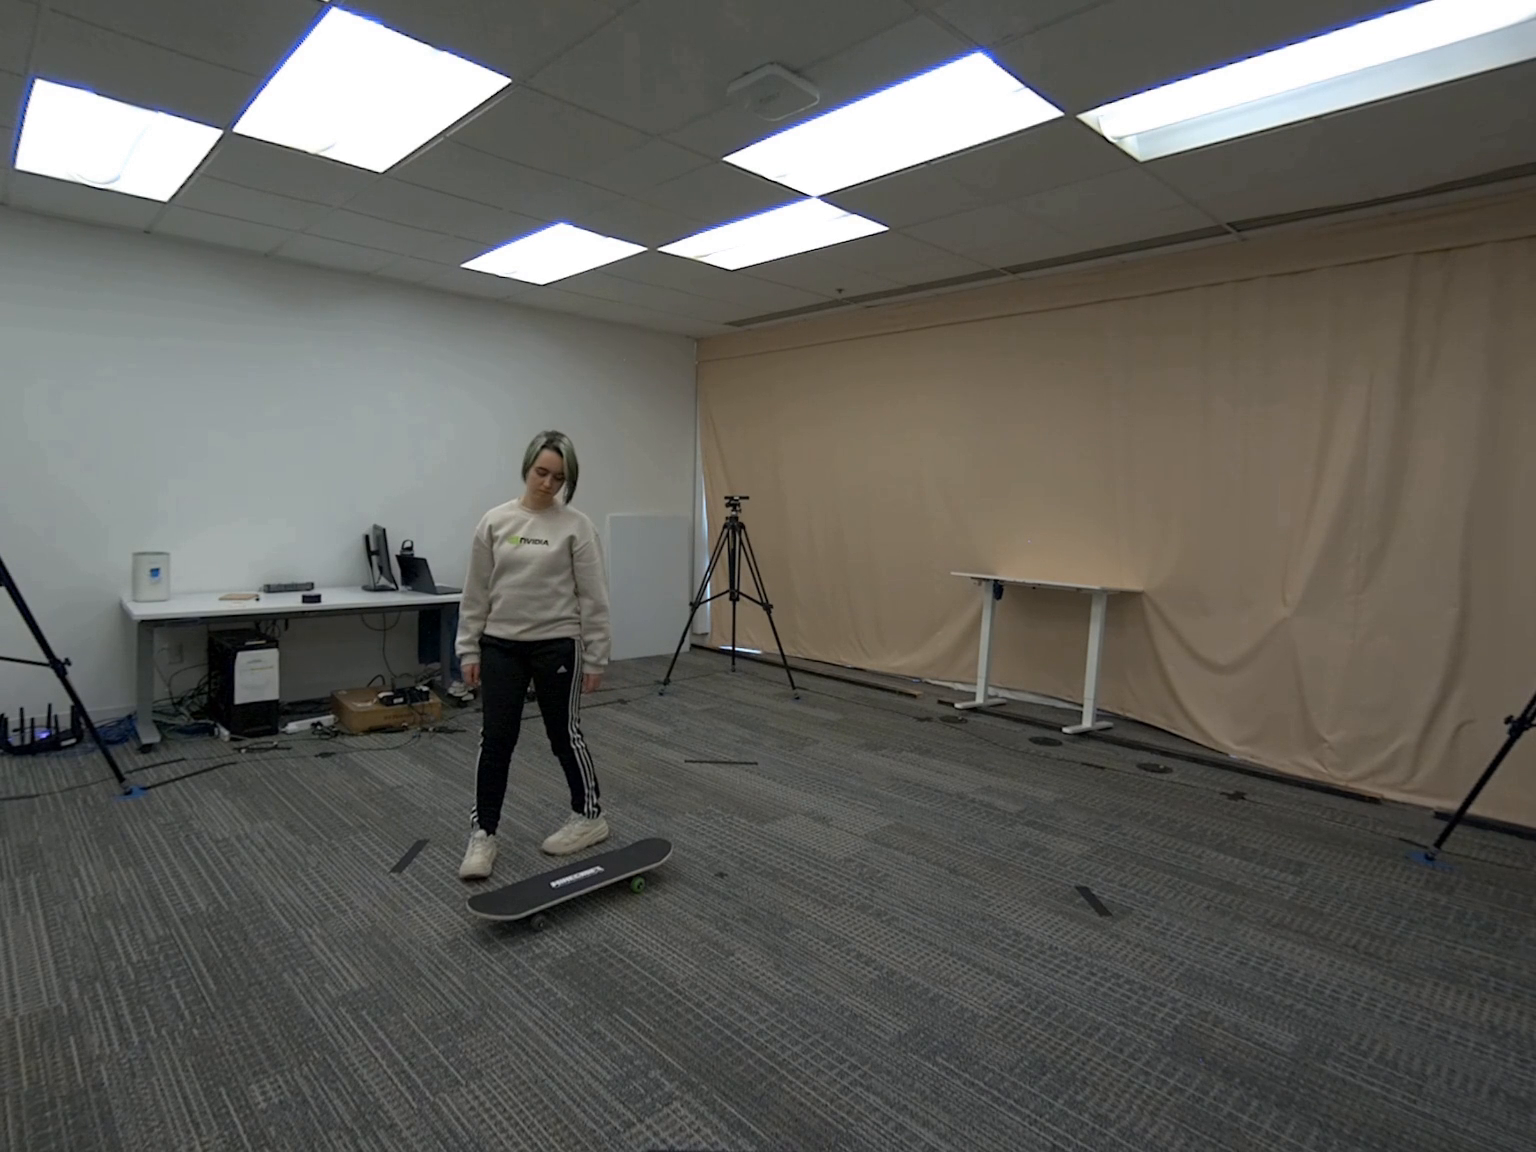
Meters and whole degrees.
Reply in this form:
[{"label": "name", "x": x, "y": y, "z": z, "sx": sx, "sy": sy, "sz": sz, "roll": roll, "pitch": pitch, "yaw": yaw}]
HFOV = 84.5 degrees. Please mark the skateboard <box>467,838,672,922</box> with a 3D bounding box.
[{"label": "skateboard", "x": -0.652, "y": 1.058, "z": 2.864, "sx": 0.198, "sy": 0.110, "sz": 0.768, "roll": 7, "pitch": 8, "yaw": 44}]
